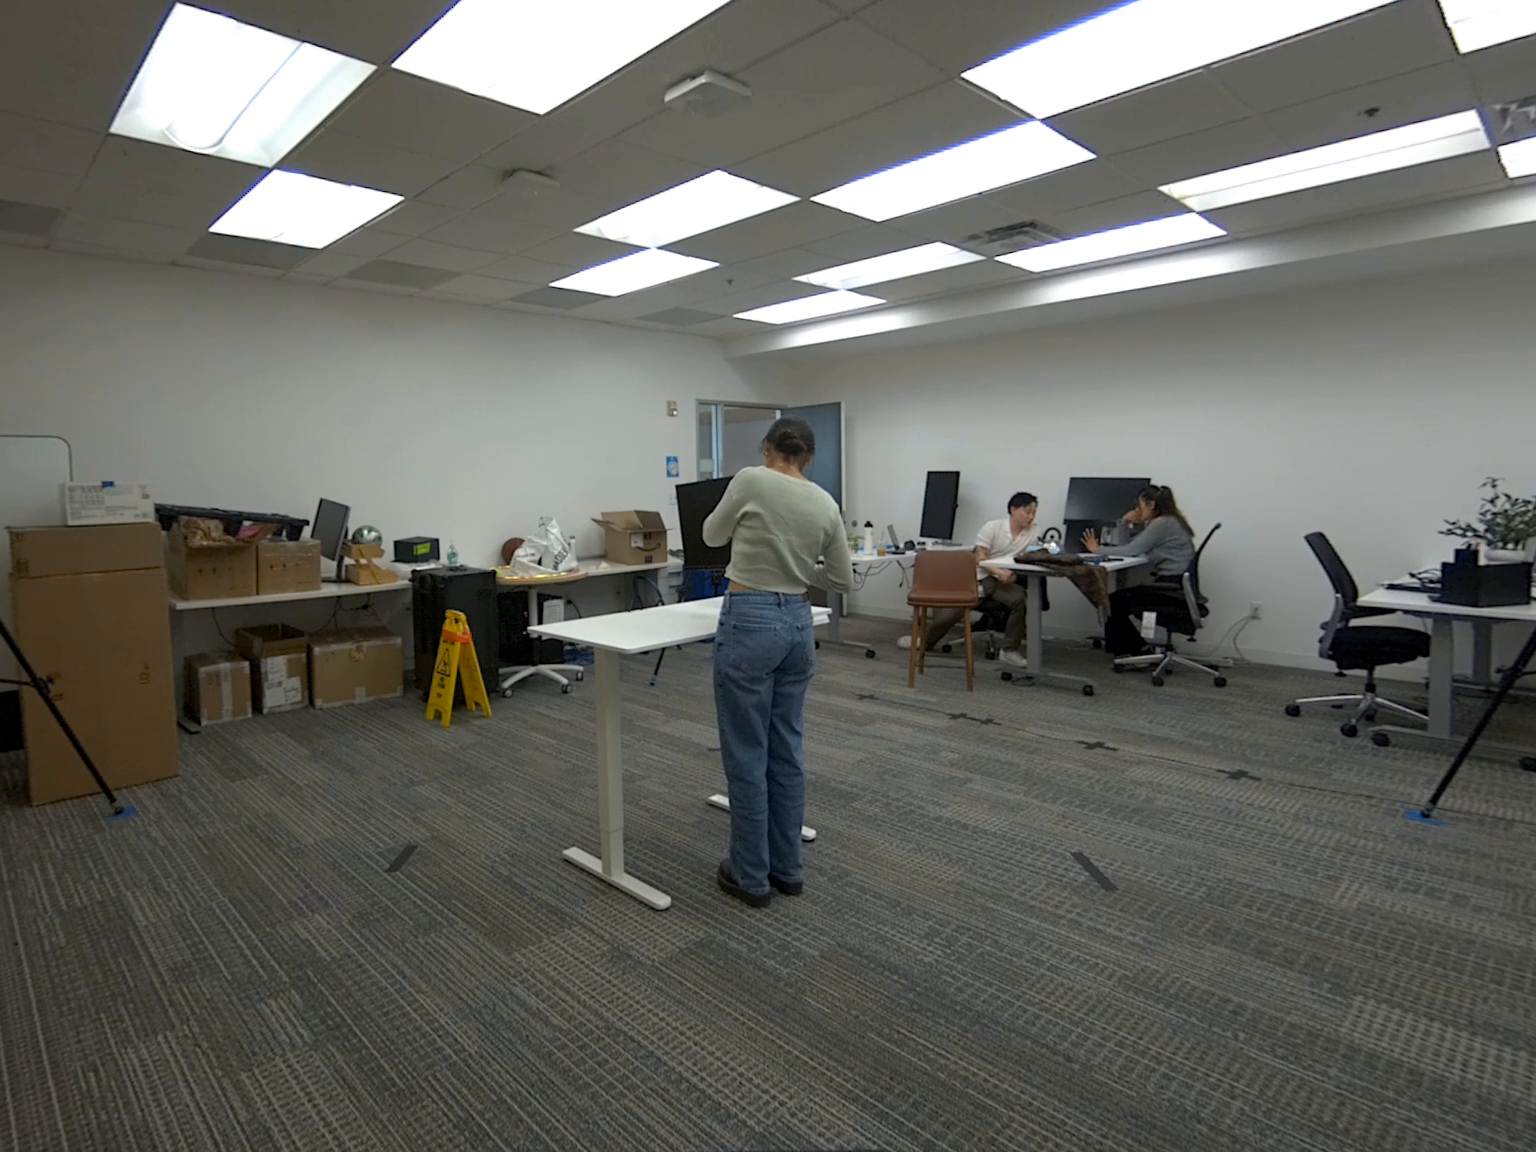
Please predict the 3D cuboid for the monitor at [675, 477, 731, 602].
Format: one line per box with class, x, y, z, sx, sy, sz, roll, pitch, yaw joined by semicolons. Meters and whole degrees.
monitor;-0.111;-0.130;3.312;0.184;0.515;0.554;-28;17;-40
